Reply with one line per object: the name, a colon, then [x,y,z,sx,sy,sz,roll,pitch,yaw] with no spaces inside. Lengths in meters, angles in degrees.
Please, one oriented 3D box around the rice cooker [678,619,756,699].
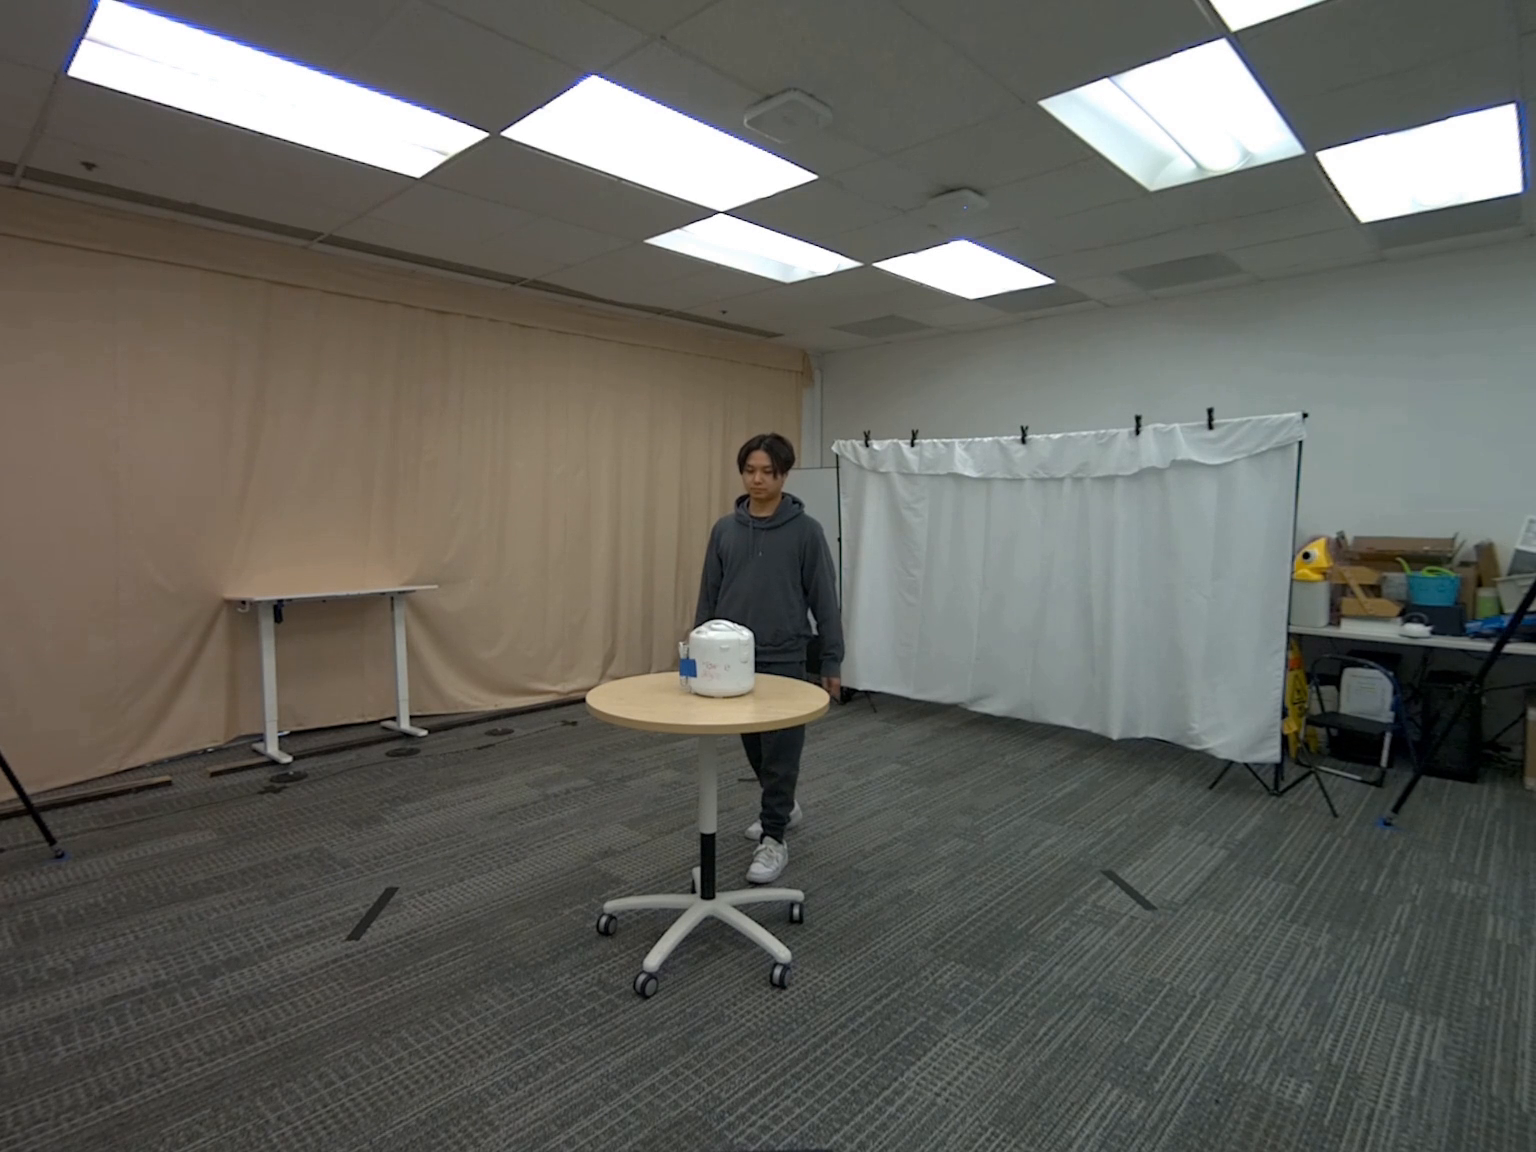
rice cooker: [-0.149,0.257,2.692,0.228,0.232,0.211,3,5,44]
